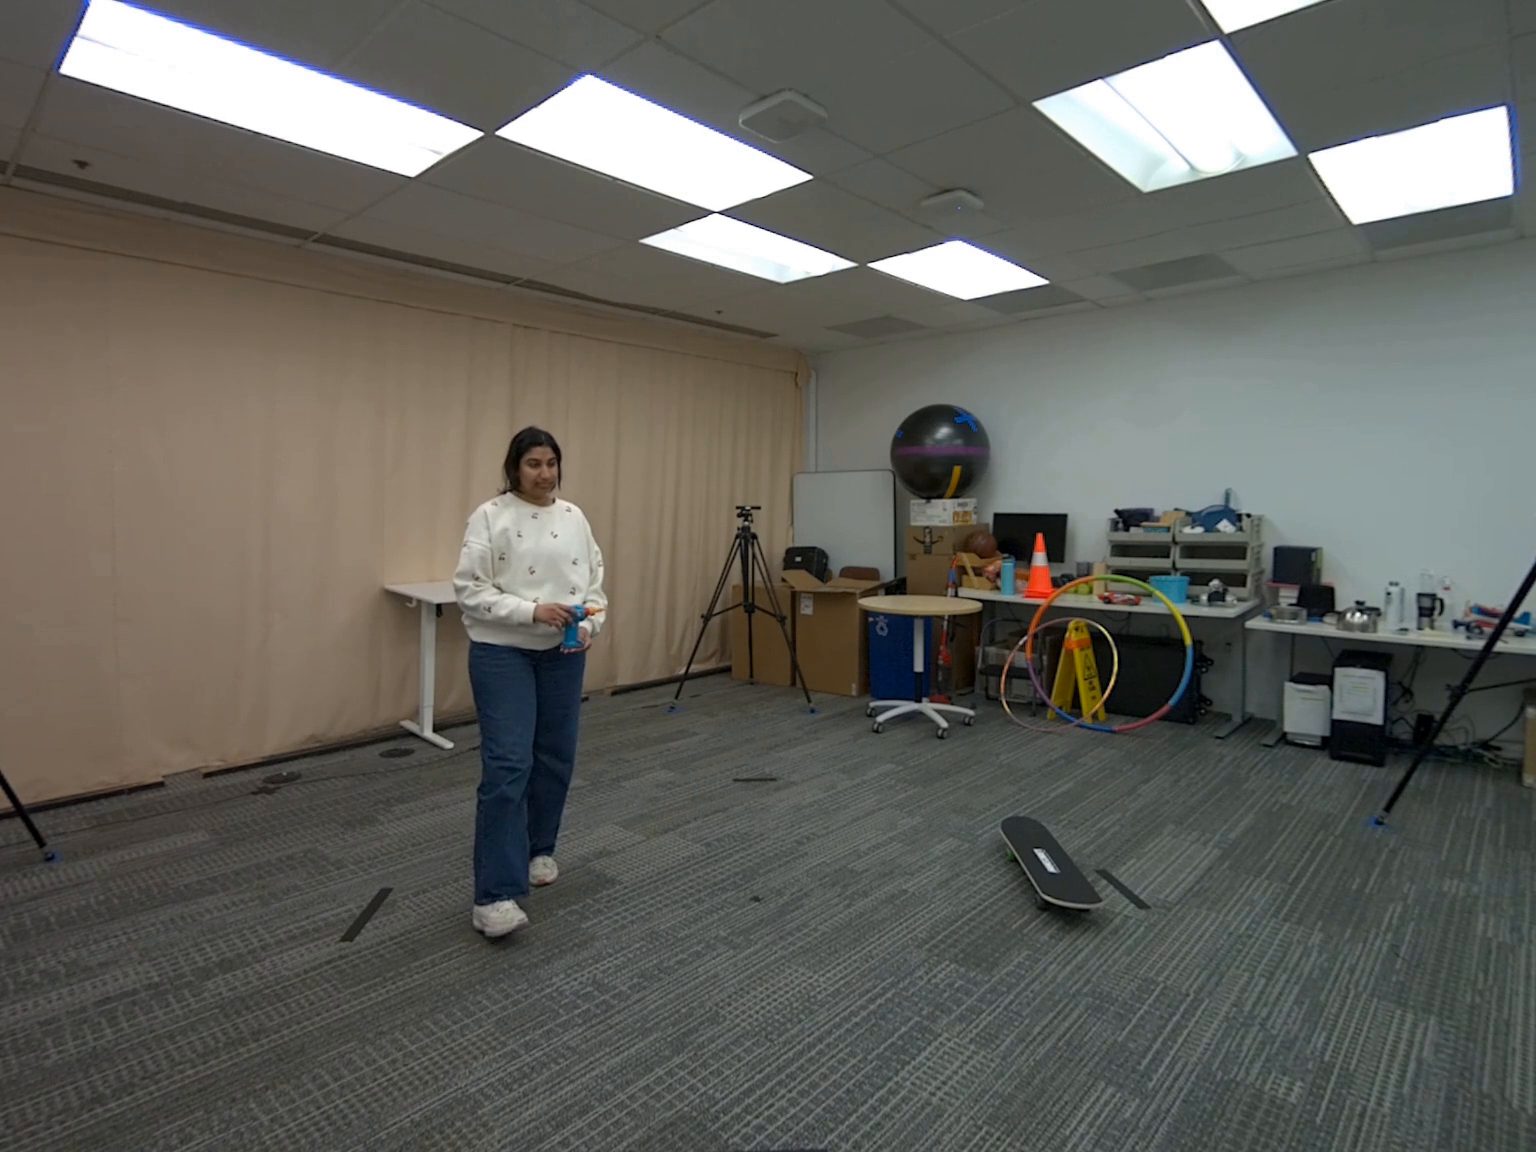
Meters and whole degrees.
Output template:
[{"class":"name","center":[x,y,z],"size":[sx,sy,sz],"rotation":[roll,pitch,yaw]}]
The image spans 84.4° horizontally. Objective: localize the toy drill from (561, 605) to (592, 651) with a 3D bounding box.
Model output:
[{"class":"toy drill","center":[-0.682,0.171,2.881],"size":[0.169,0.144,0.062],"rotation":[-12,12,-6]}]
